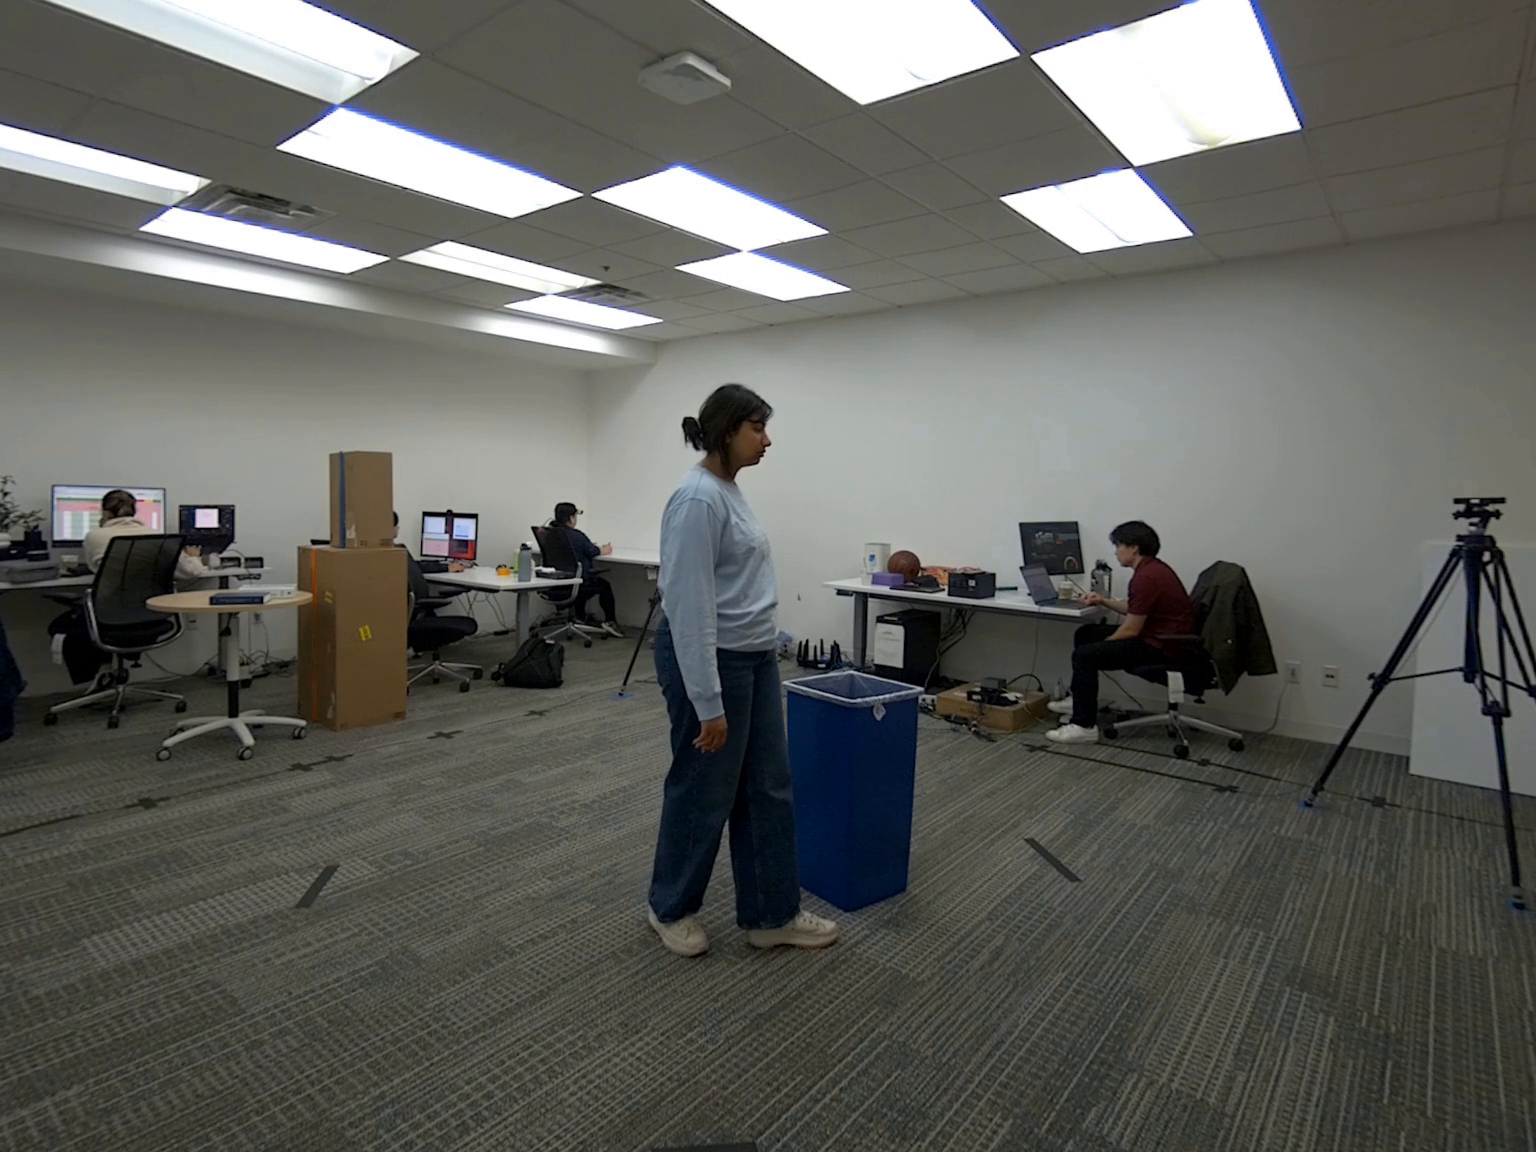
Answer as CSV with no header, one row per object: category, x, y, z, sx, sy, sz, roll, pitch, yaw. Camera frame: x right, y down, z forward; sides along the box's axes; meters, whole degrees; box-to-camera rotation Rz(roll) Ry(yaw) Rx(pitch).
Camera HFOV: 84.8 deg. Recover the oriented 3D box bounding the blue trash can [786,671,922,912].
blue trash can,0.278,0.734,3.004,0.366,0.711,0.387,-1,4,-39
